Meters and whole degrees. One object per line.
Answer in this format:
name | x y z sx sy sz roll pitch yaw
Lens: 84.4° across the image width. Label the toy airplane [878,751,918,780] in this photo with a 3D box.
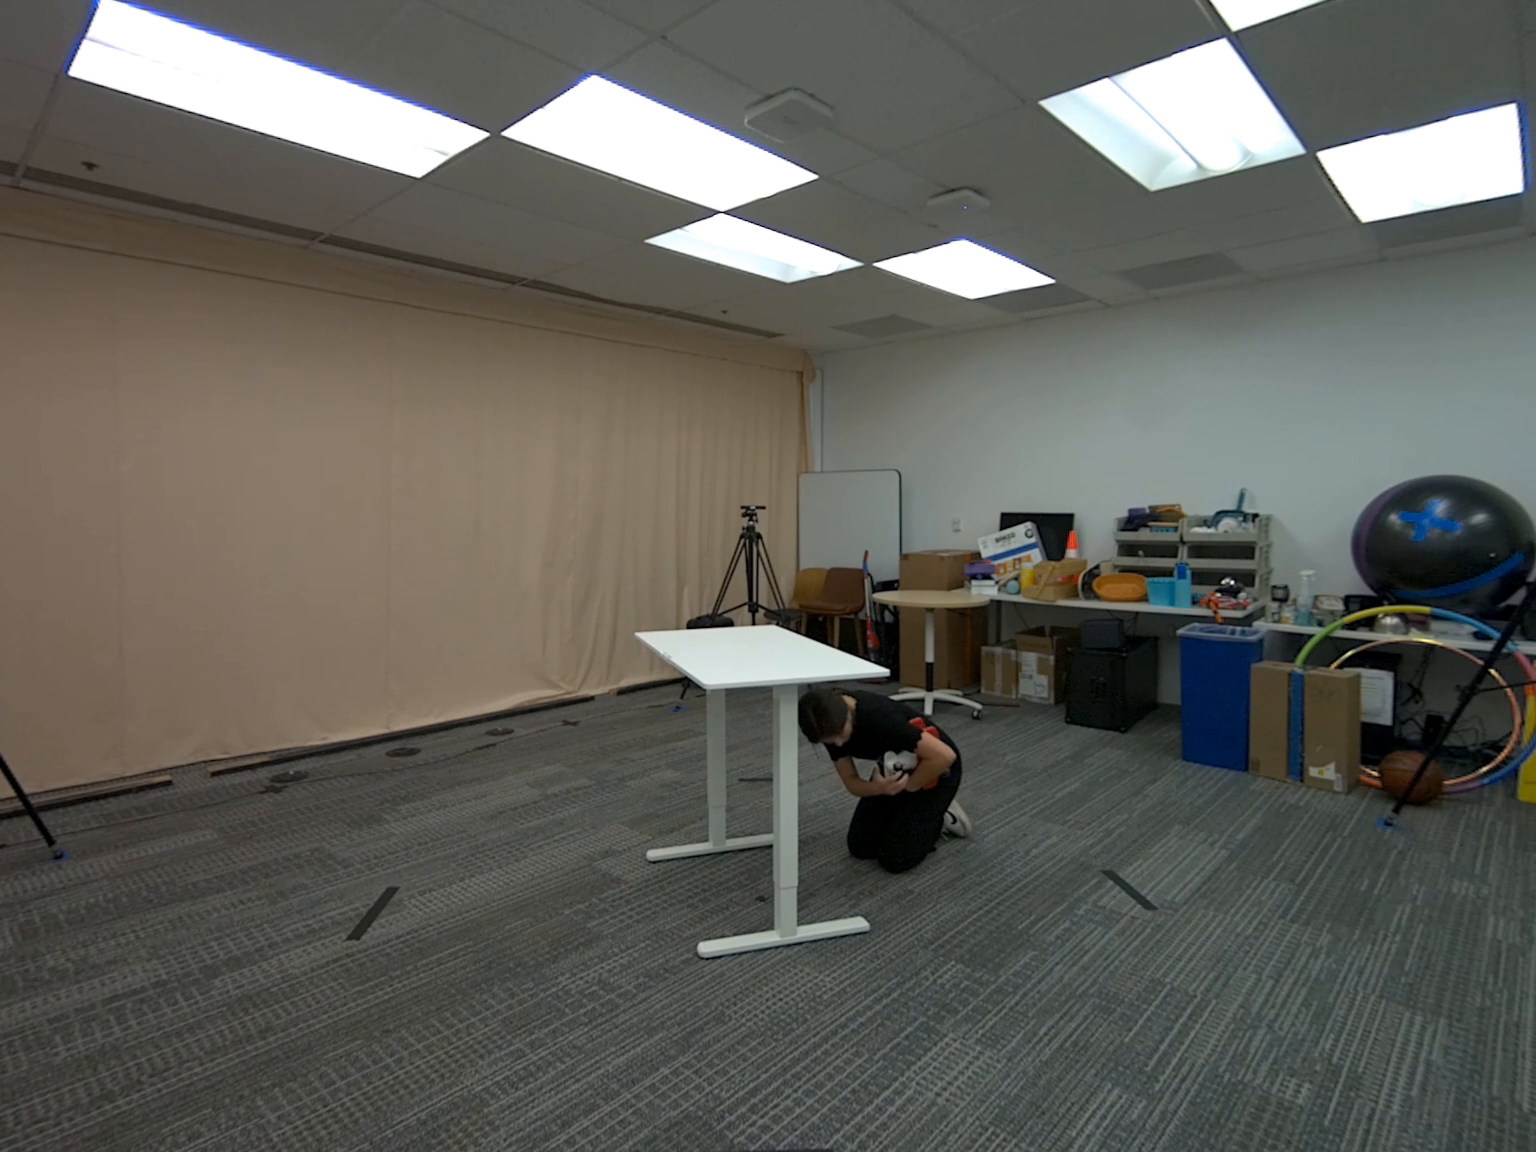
toy airplane | 0.546 0.664 3.140 0.254 0.250 0.160 17 8 -17
